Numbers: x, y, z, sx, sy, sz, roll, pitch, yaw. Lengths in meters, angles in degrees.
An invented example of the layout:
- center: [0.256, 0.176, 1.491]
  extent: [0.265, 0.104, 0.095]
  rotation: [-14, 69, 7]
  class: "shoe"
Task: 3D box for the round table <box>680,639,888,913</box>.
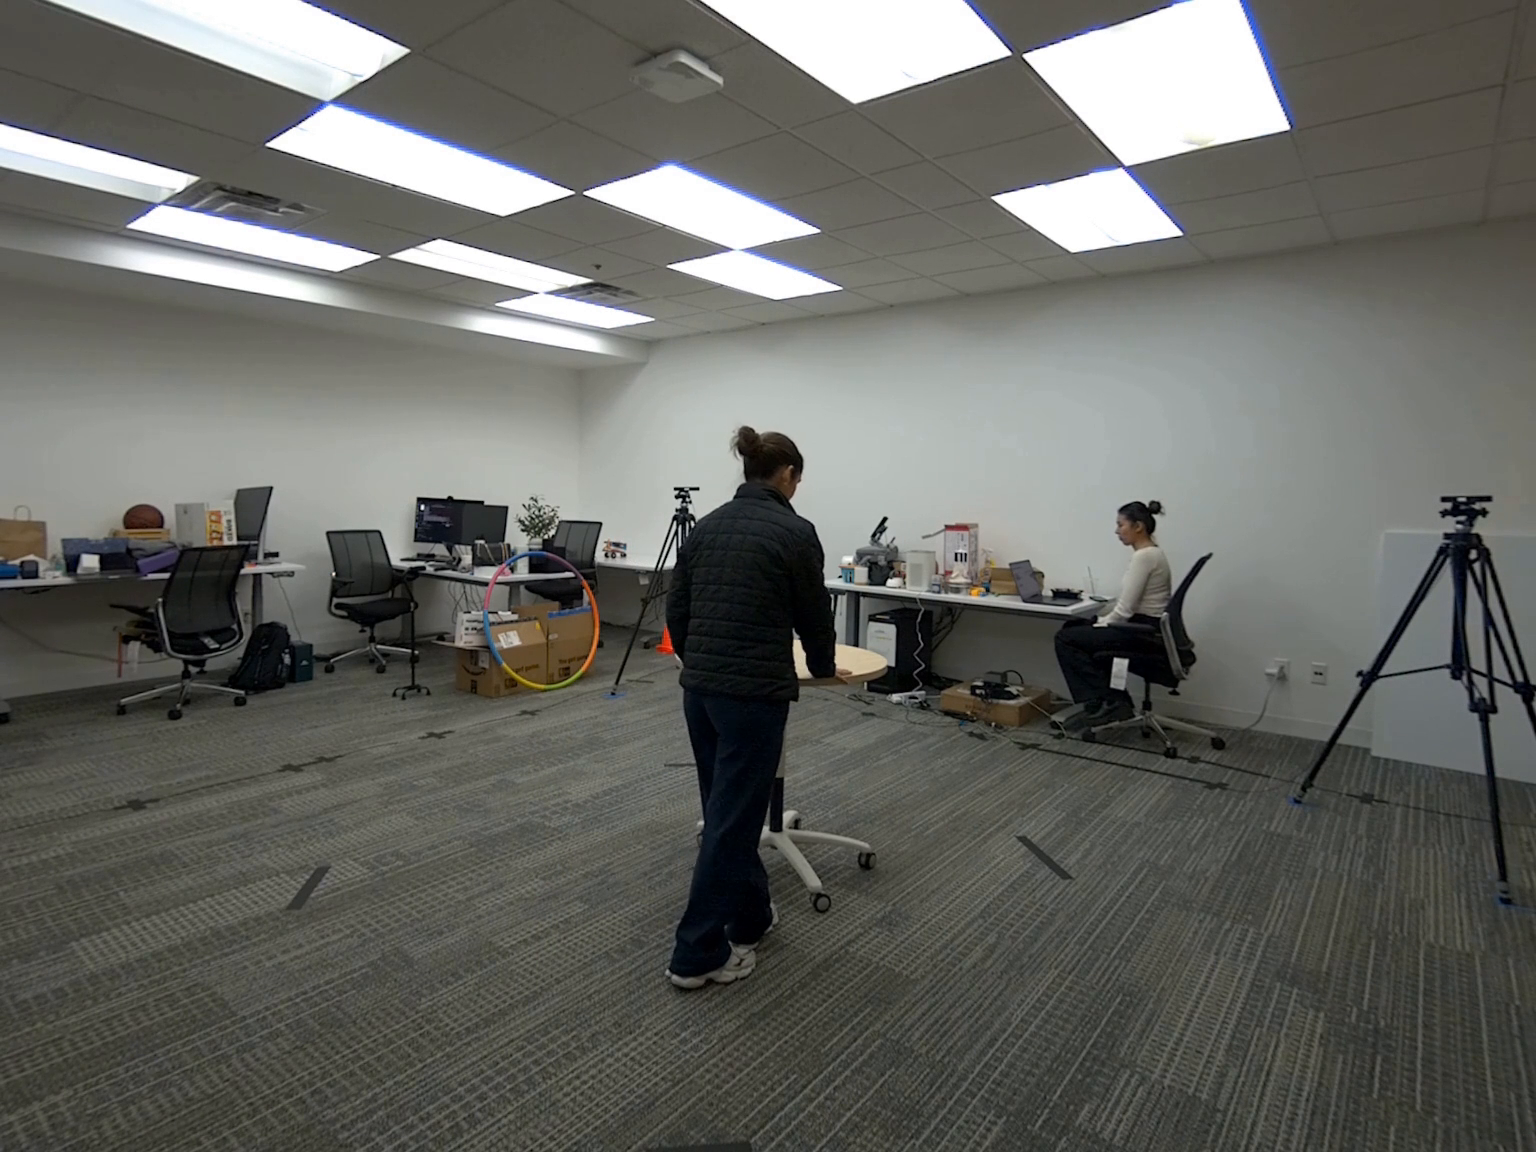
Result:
- center: [0.063, 0.675, 3.110]
  extent: [0.784, 0.784, 0.788]
  rotation: [1, 4, -2]
  class: "round table"
